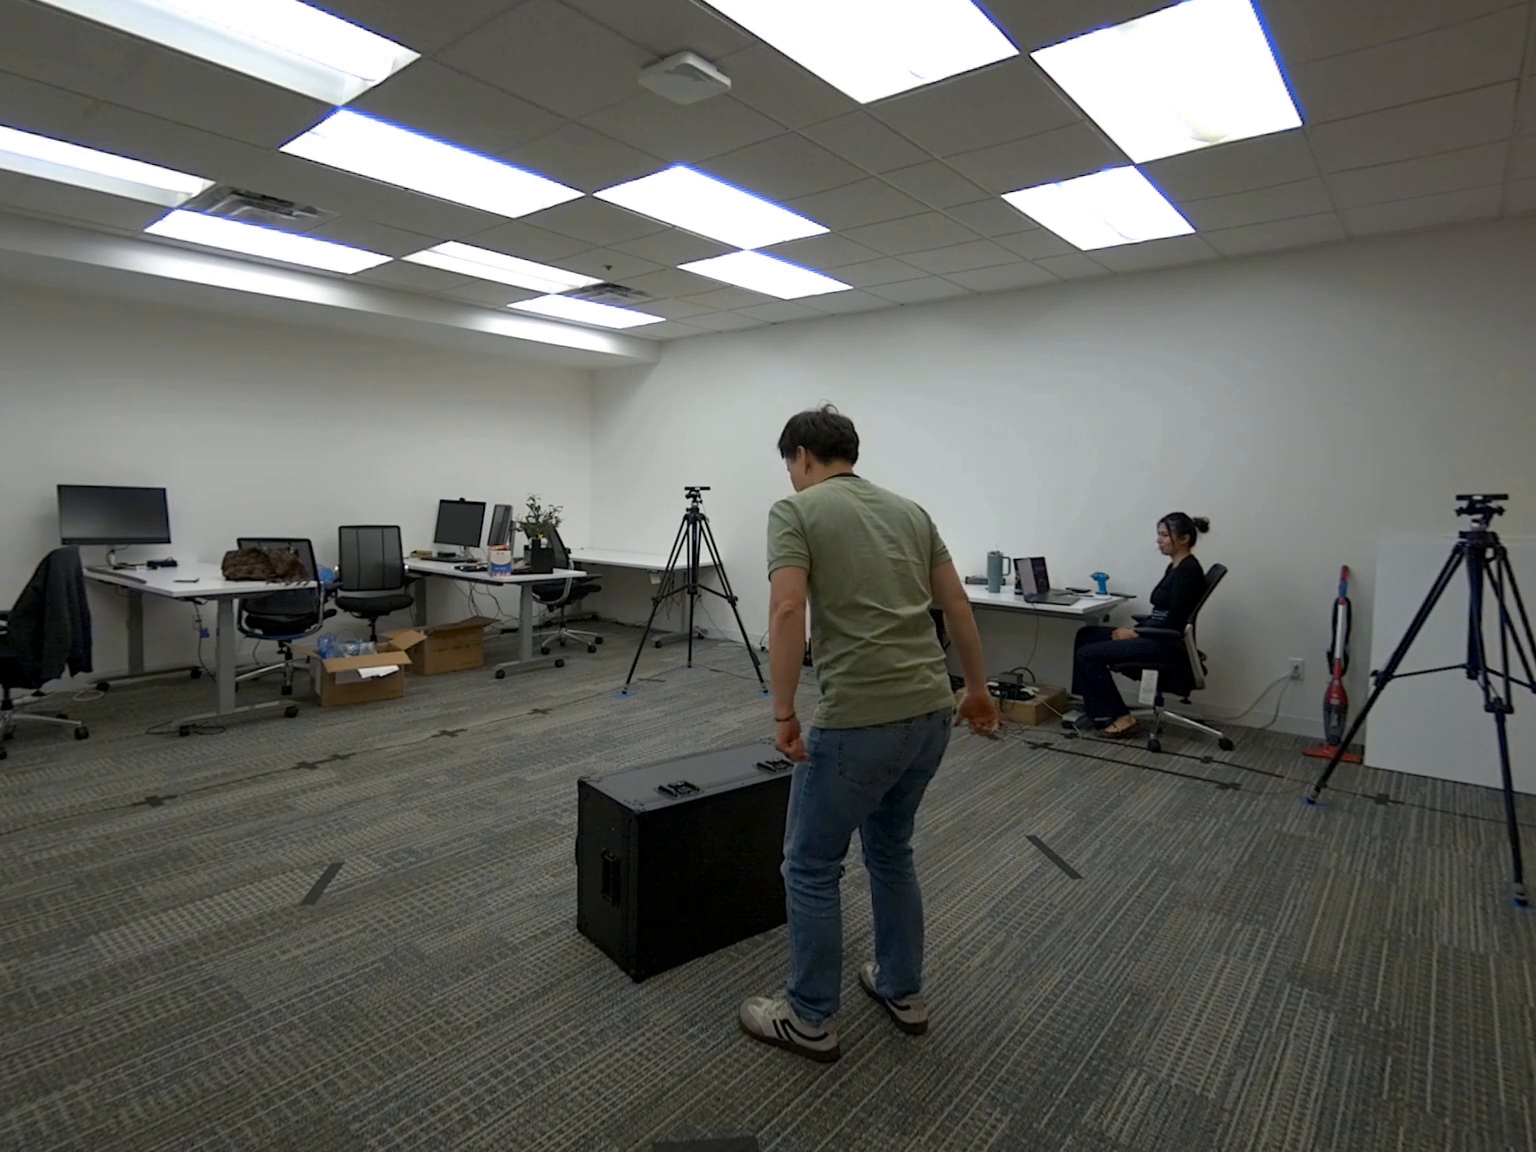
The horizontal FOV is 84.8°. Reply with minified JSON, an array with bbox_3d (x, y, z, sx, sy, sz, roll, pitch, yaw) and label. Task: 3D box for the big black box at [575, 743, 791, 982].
[{"bbox_3d":[-0.175,0.858,2.766,0.836,0.520,0.409,-2,5,-38],"label":"big black box"}]
